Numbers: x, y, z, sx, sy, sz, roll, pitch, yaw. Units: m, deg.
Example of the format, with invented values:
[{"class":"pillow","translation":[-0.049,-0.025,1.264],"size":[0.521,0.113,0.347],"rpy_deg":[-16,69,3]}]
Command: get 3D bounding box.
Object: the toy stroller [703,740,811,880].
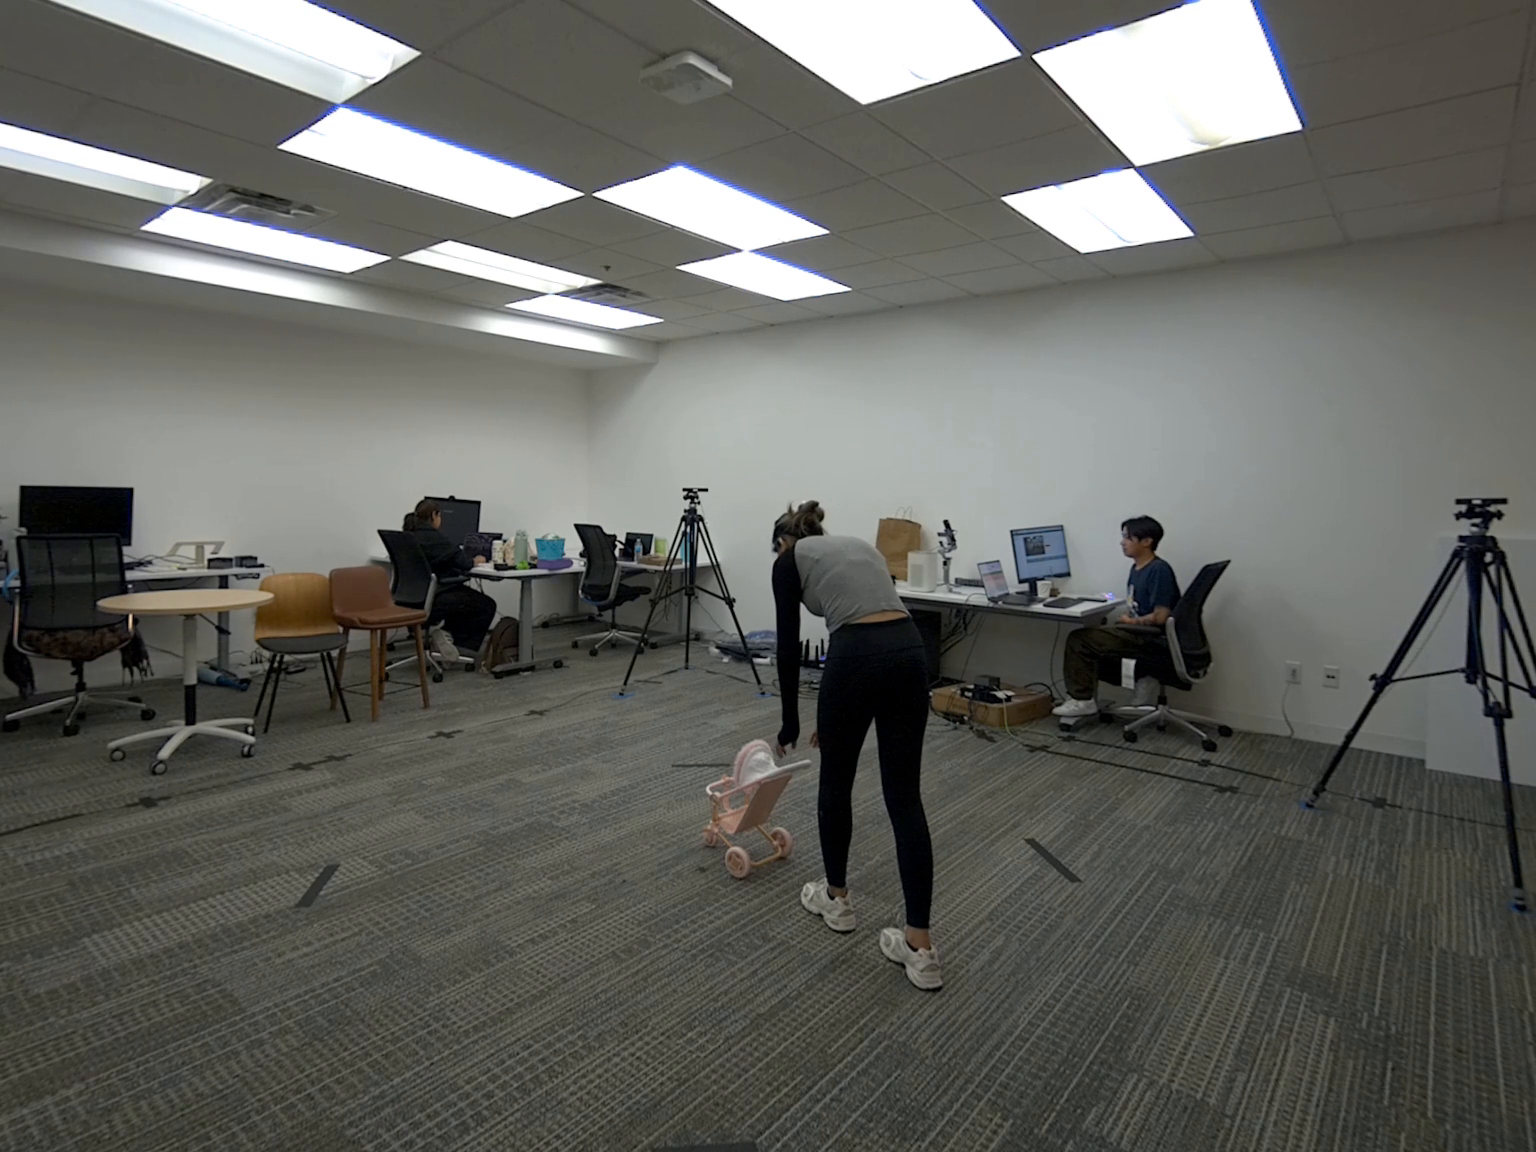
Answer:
[{"class":"toy stroller","translation":[-0.081,0.843,3.175],"size":[0.273,0.529,0.356],"rpy_deg":[-1,21,-45]}]
